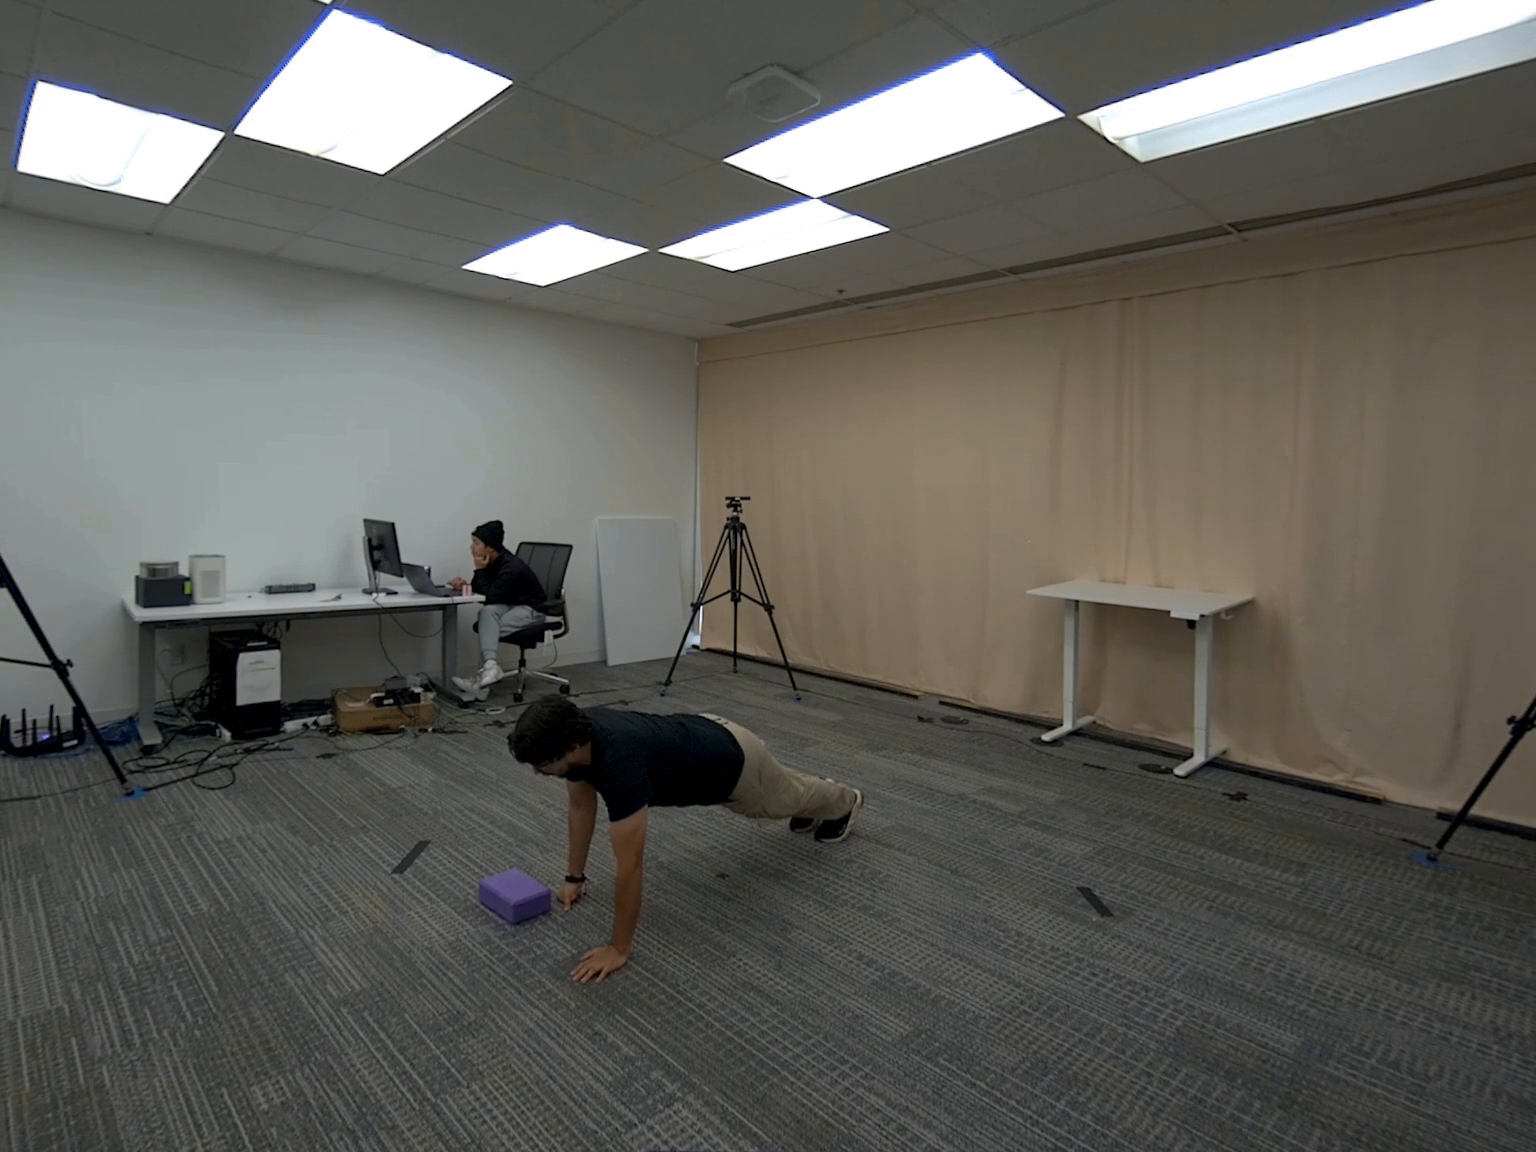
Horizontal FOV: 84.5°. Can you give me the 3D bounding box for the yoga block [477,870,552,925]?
[{"bbox_3d":[-0.859,1.075,2.834,0.235,0.076,0.146,7,9,43],"label":"yoga block"}]
